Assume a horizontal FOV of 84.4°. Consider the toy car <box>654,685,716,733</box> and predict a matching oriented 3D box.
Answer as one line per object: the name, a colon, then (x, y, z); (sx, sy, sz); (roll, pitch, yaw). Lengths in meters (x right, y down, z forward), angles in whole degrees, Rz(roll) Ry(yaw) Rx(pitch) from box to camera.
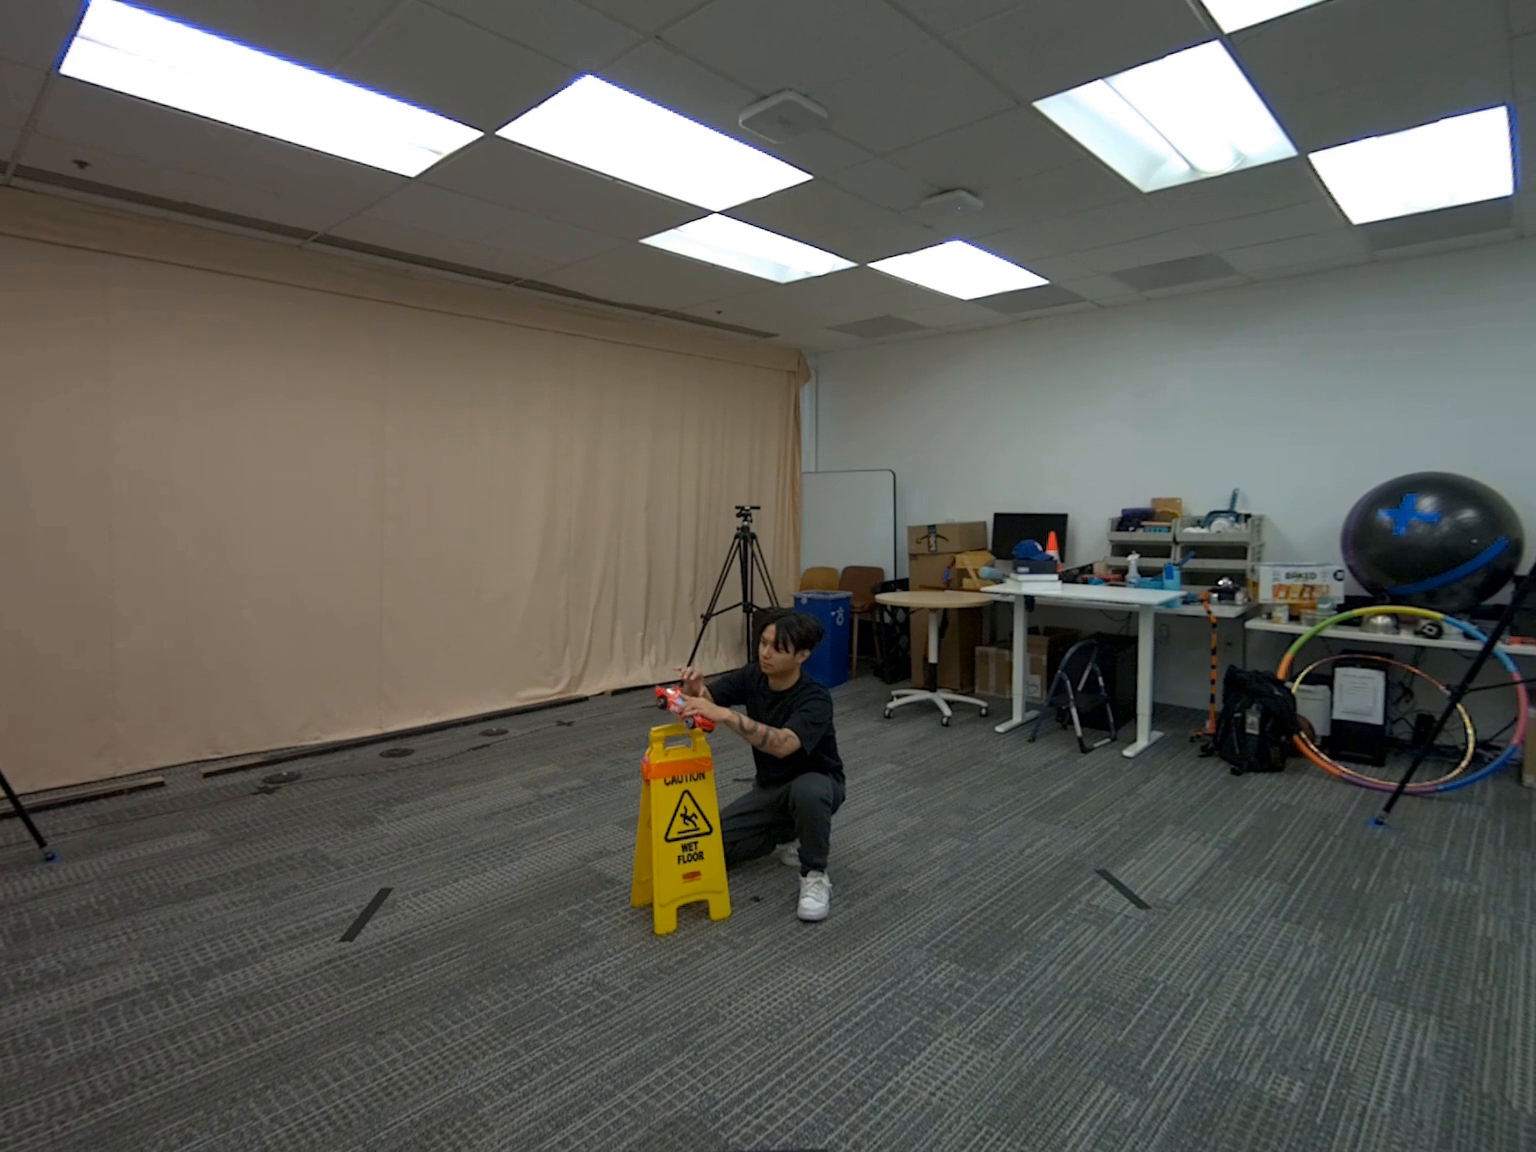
toy car: (-0.289, 0.453, 2.816); (0.125, 0.083, 0.264); (23, 13, -49)
